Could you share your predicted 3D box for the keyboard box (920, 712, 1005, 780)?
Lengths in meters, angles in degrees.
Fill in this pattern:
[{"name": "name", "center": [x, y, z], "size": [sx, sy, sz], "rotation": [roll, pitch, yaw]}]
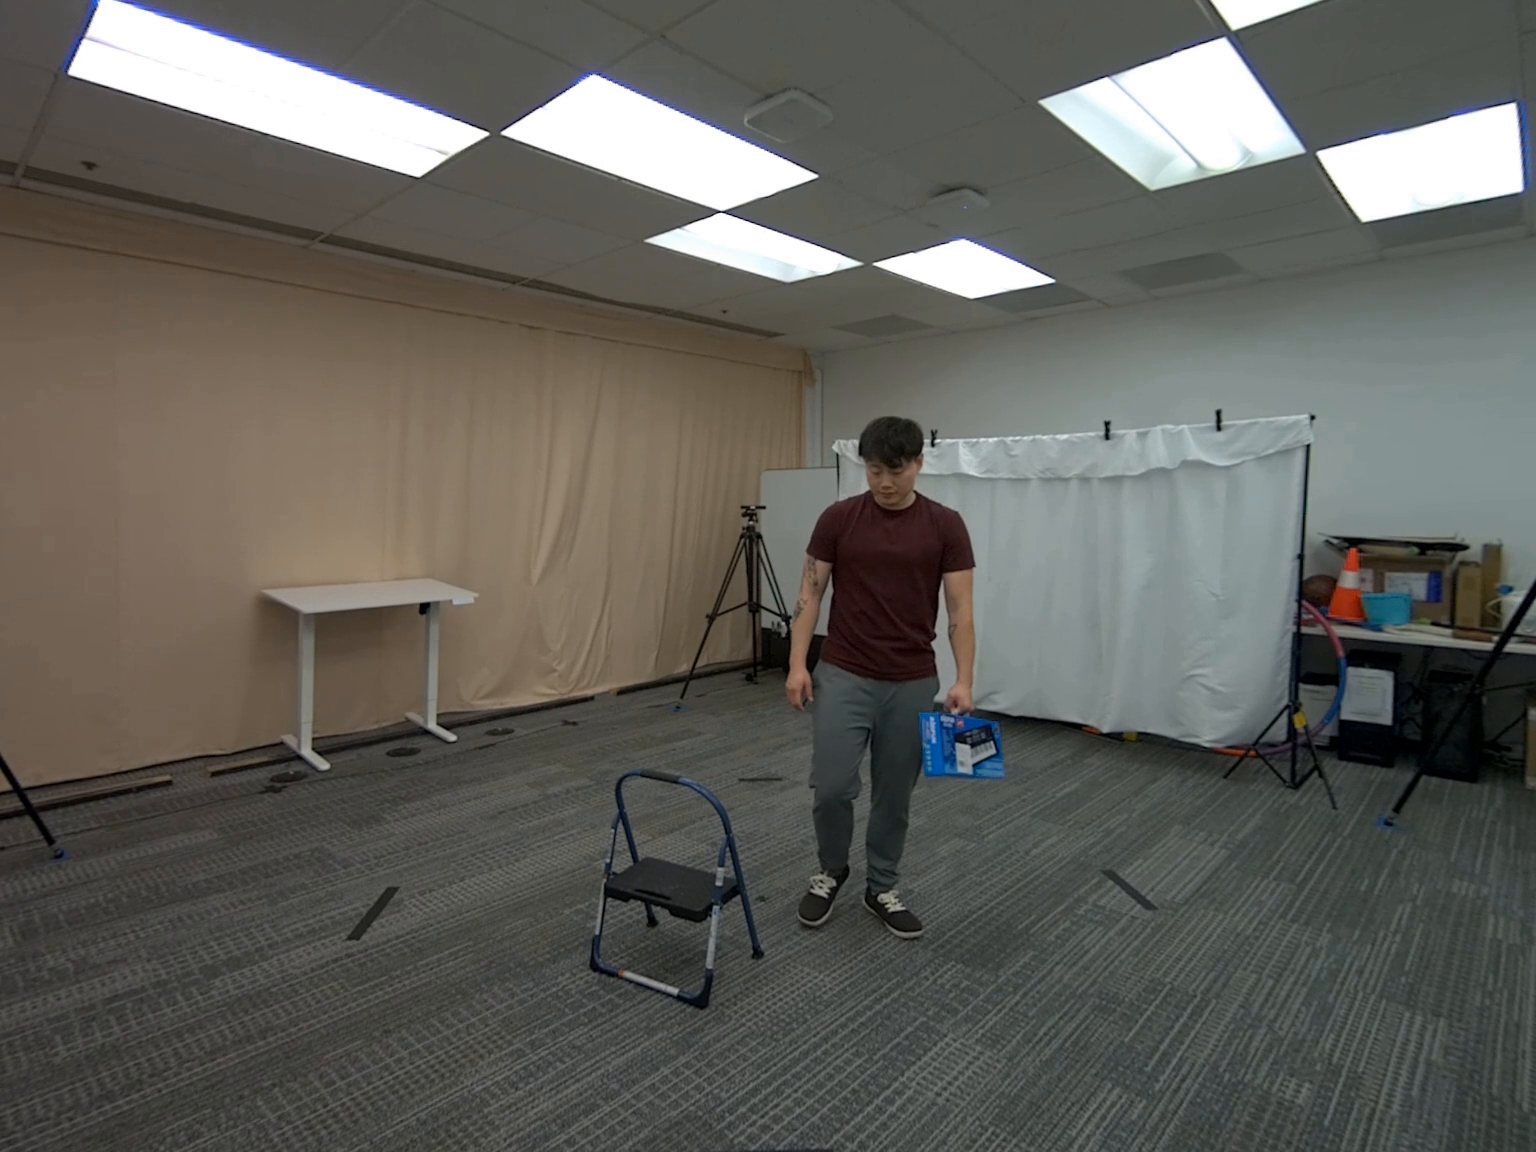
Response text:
[{"name": "keyboard box", "center": [0.584, 0.516, 2.515], "size": [0.060, 0.178, 0.421], "rotation": [-13, -19, 35]}]
